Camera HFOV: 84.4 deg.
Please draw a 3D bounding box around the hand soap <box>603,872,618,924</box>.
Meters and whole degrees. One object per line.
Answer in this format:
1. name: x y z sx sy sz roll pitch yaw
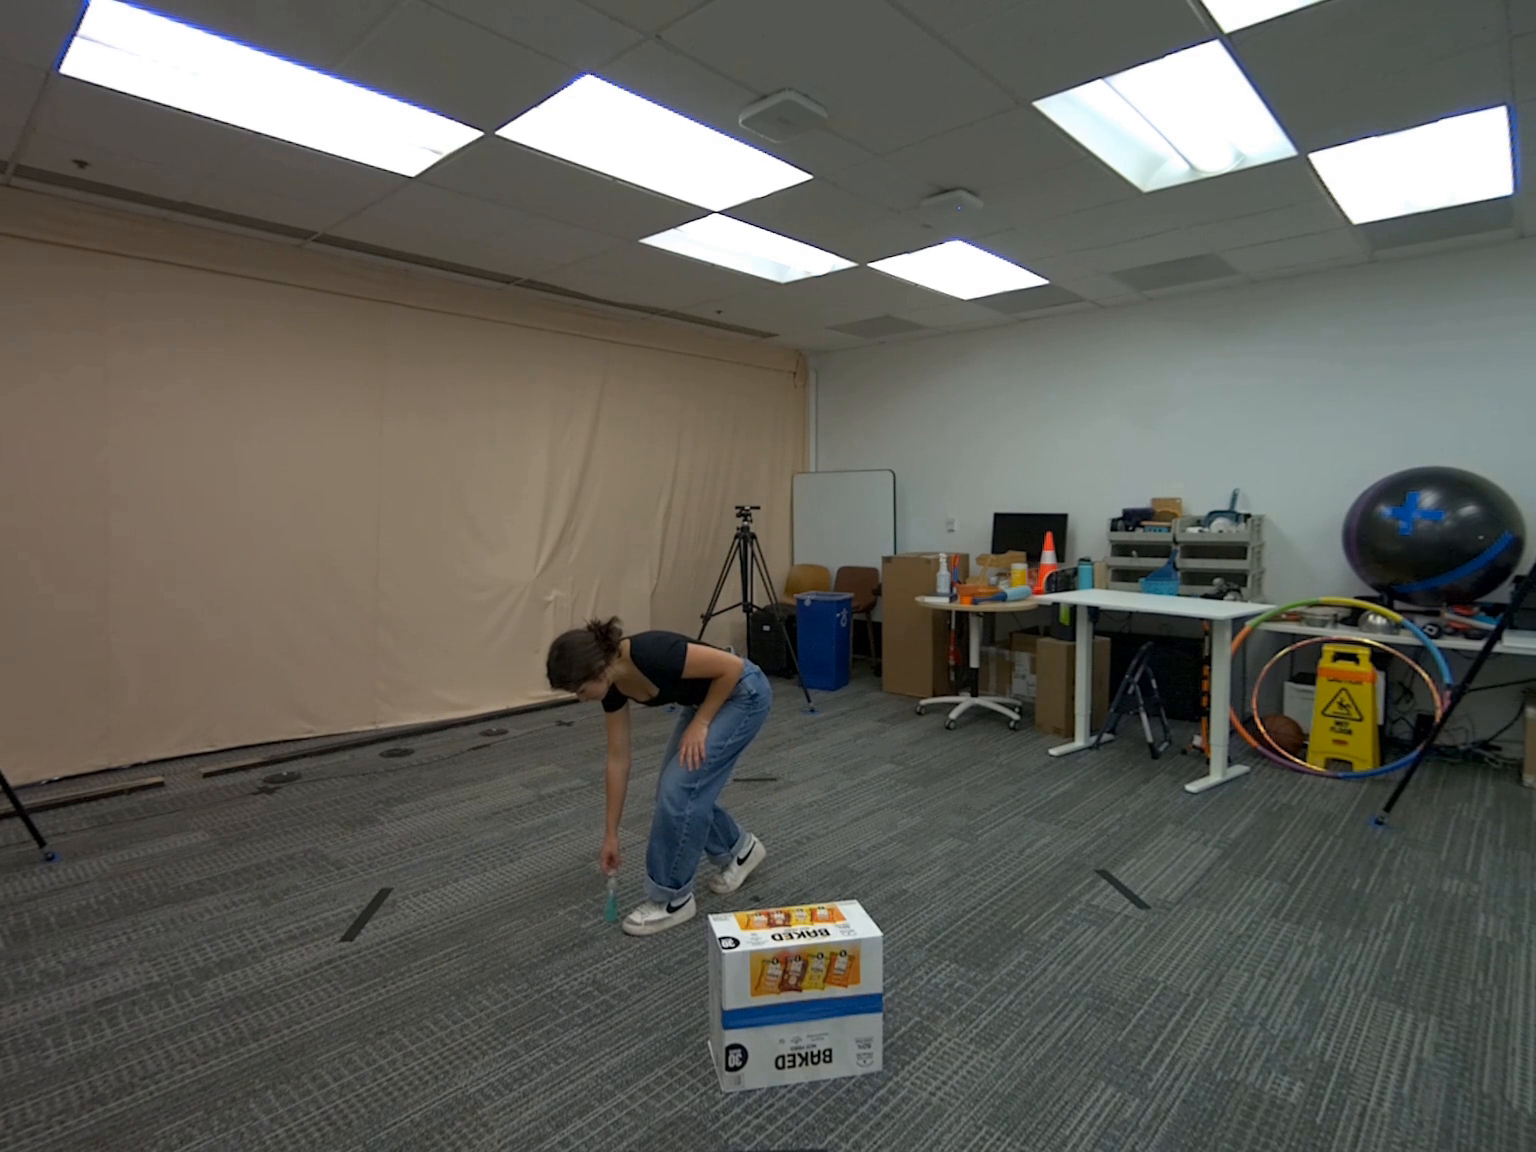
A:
1. hand soap: -0.524 1.073 2.844 0.043 0.167 0.084 10 7 2
